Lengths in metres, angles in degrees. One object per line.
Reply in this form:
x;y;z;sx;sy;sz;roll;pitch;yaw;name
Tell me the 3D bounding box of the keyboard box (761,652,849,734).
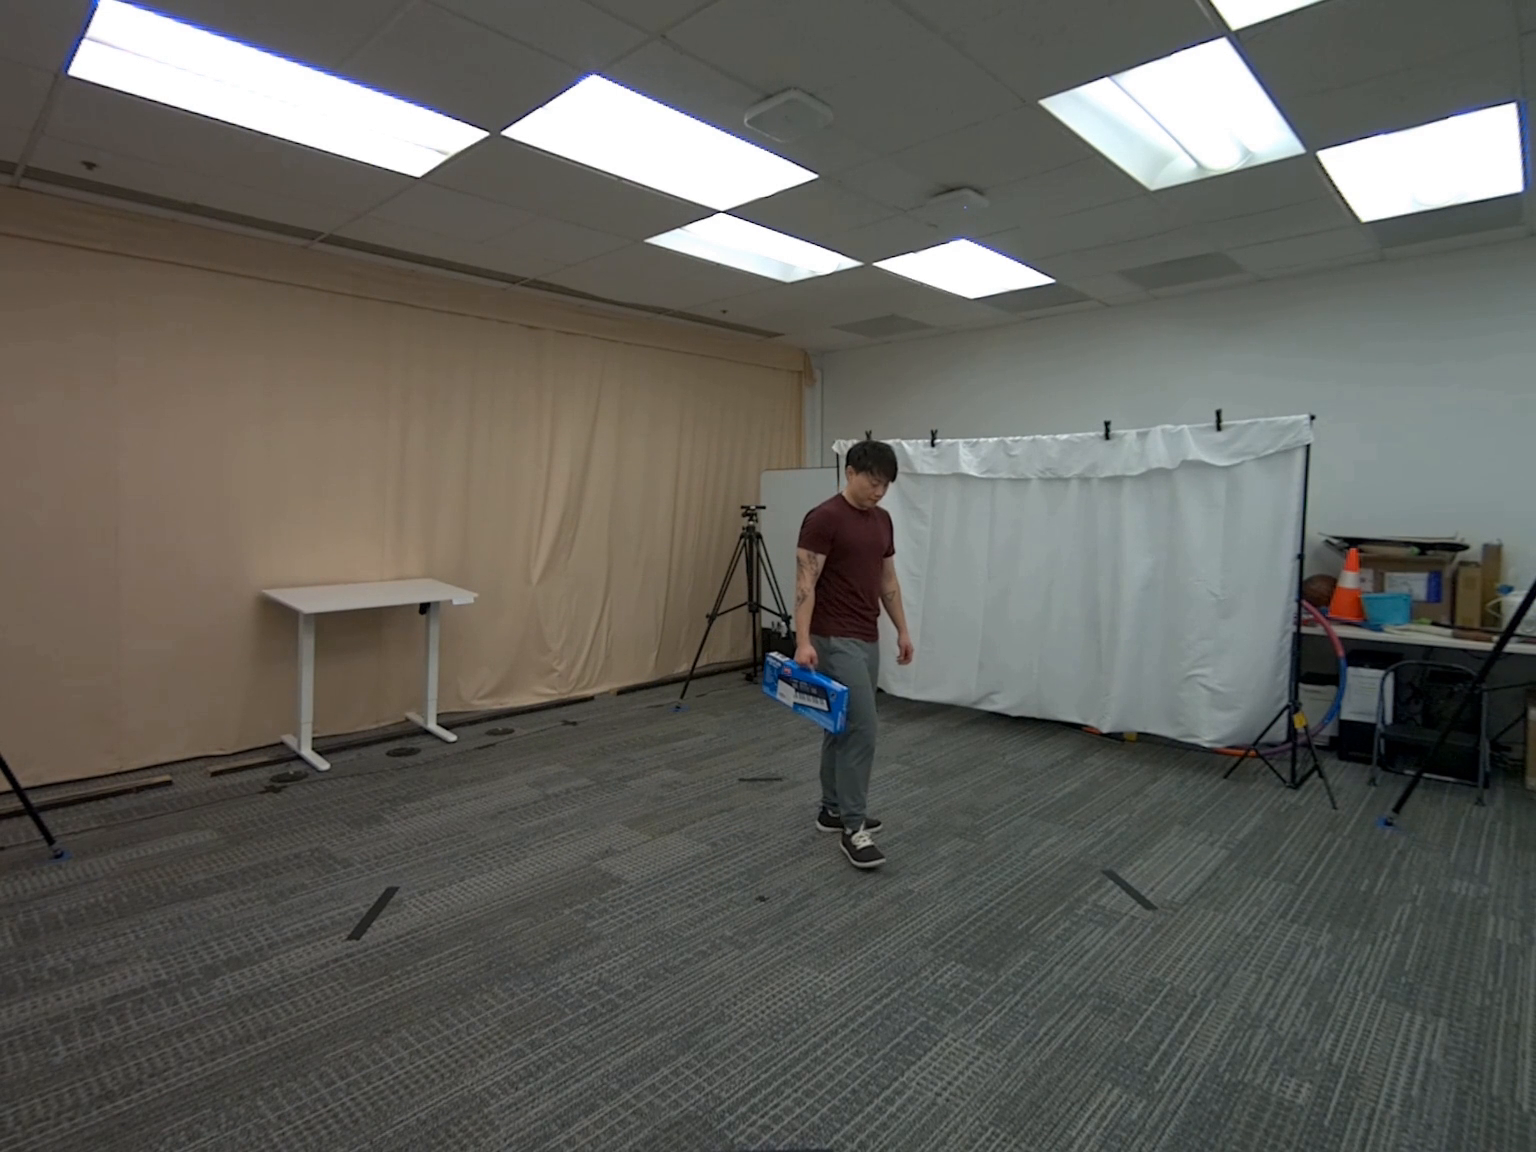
0.148;0.459;3.354;0.057;0.175;0.453;-5;17;-38;keyboard box
